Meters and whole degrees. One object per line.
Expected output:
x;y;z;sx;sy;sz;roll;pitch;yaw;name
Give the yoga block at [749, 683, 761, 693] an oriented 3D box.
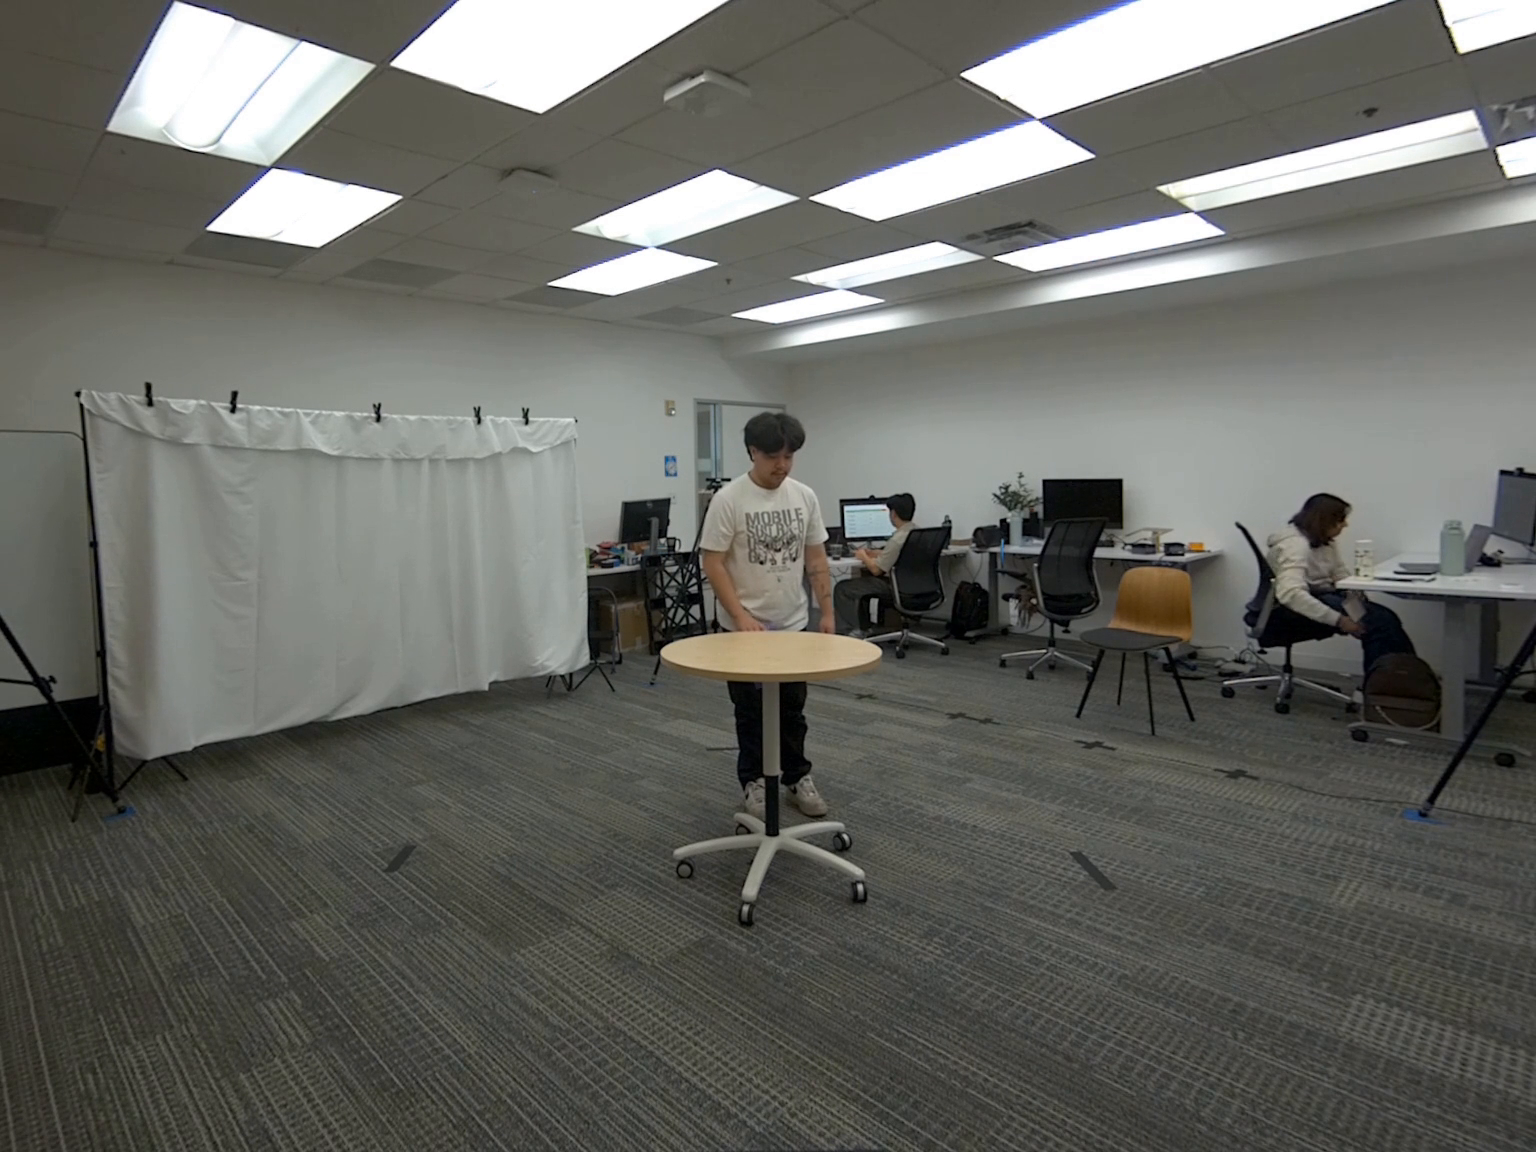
0.000;0.324;3.443;0.149;0.226;0.077;-17;13;1;yoga block
